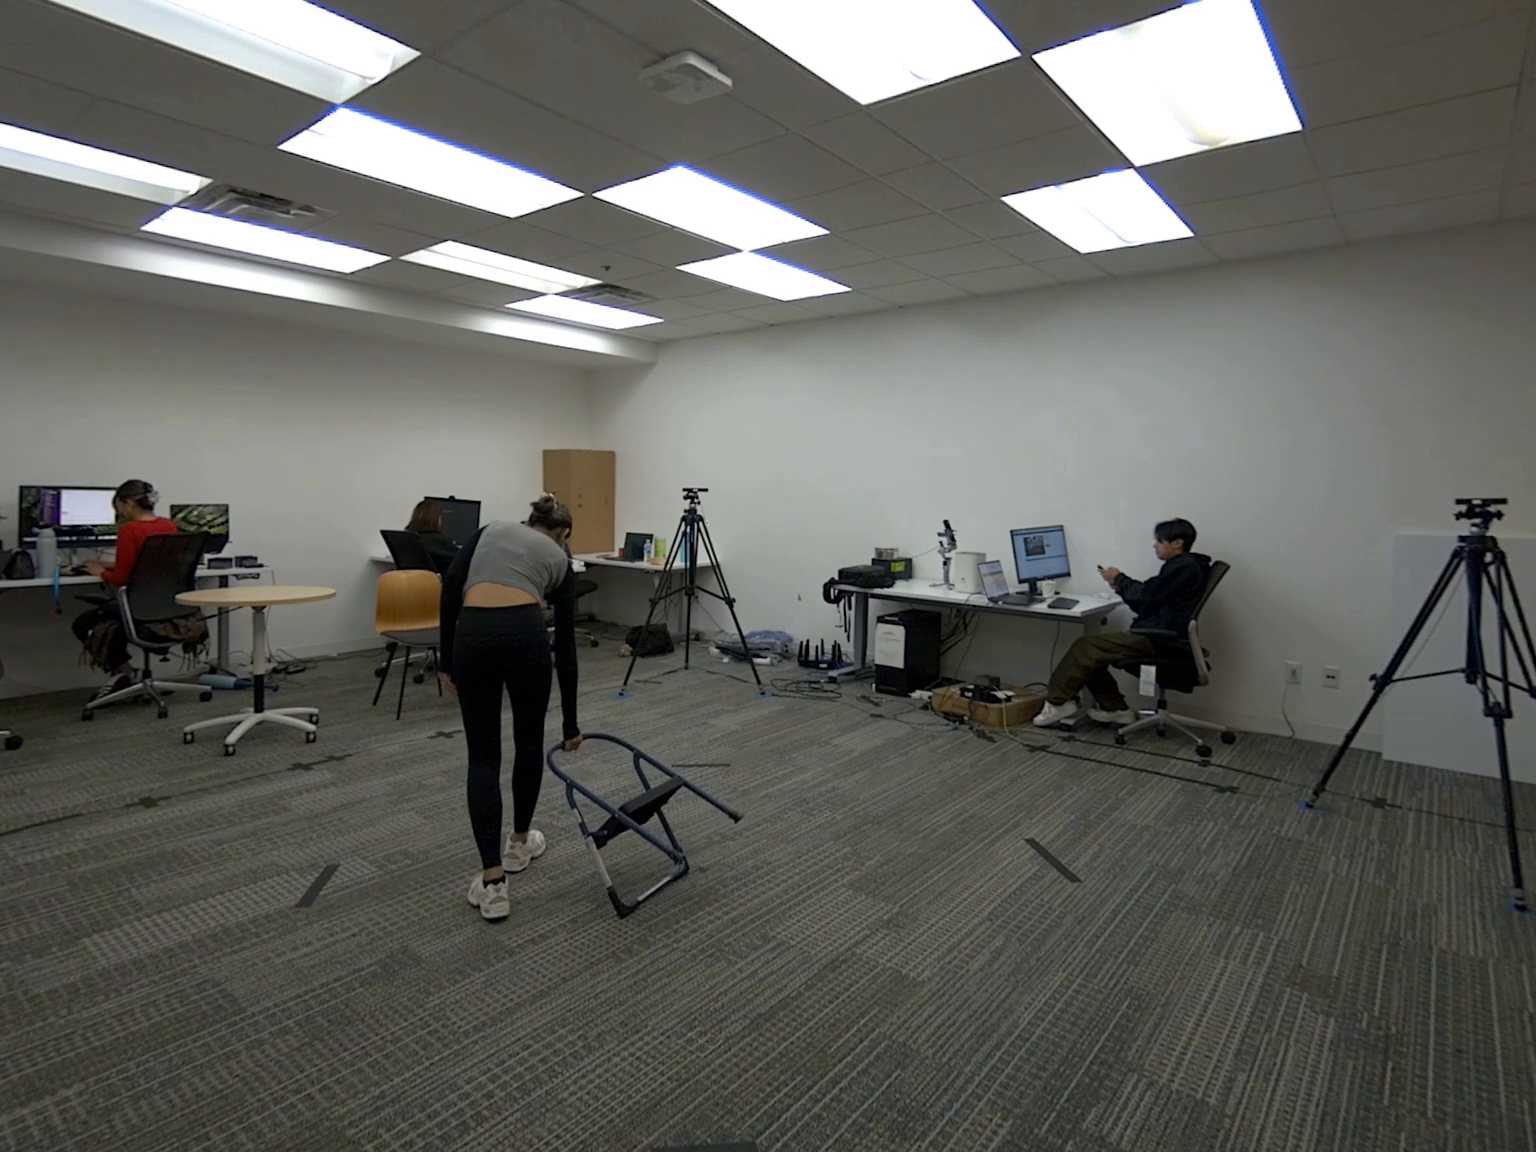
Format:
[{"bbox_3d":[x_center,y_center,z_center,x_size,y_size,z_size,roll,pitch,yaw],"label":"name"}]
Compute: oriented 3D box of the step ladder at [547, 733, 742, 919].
[{"bbox_3d":[-0.486,0.760,2.949,0.622,0.349,0.420,47,22,18],"label":"step ladder"}]
